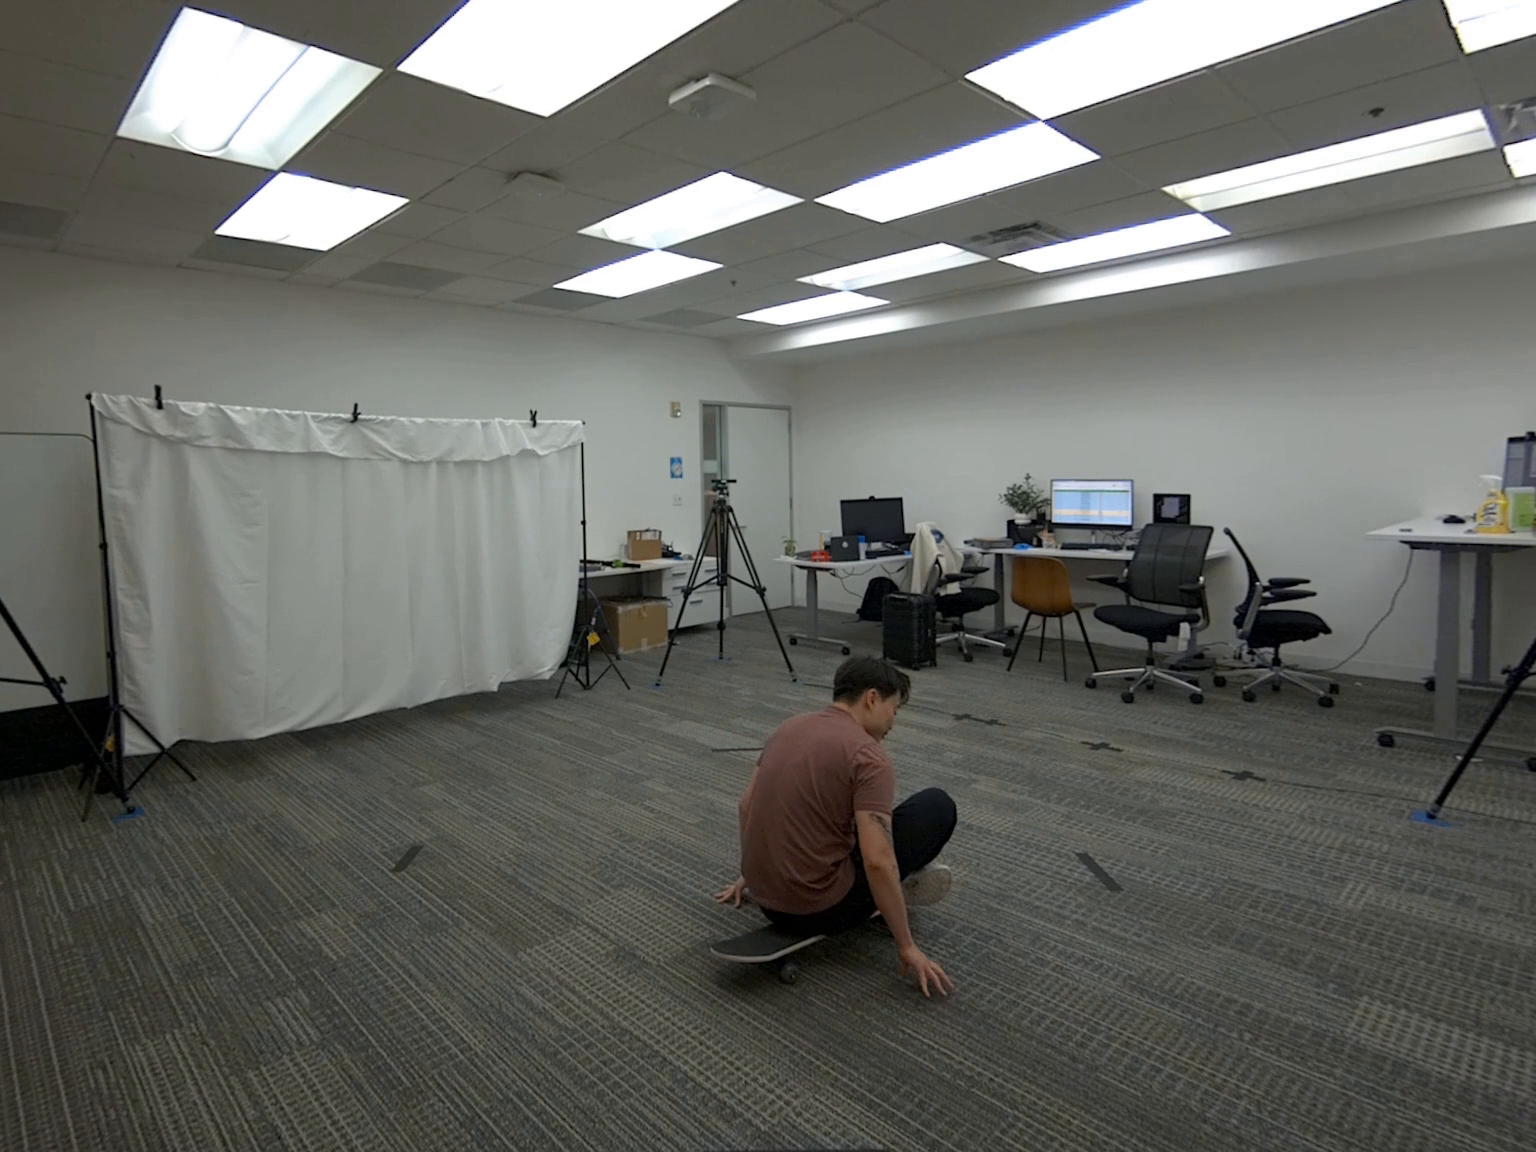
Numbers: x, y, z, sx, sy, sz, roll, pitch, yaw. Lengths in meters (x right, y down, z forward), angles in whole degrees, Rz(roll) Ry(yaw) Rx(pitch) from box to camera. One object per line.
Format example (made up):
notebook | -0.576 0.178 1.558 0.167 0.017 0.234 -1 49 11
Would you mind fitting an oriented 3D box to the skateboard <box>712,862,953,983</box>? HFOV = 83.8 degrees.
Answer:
skateboard | 0.189 1.055 2.547 0.768 0.111 0.197 -8 -4 -31
